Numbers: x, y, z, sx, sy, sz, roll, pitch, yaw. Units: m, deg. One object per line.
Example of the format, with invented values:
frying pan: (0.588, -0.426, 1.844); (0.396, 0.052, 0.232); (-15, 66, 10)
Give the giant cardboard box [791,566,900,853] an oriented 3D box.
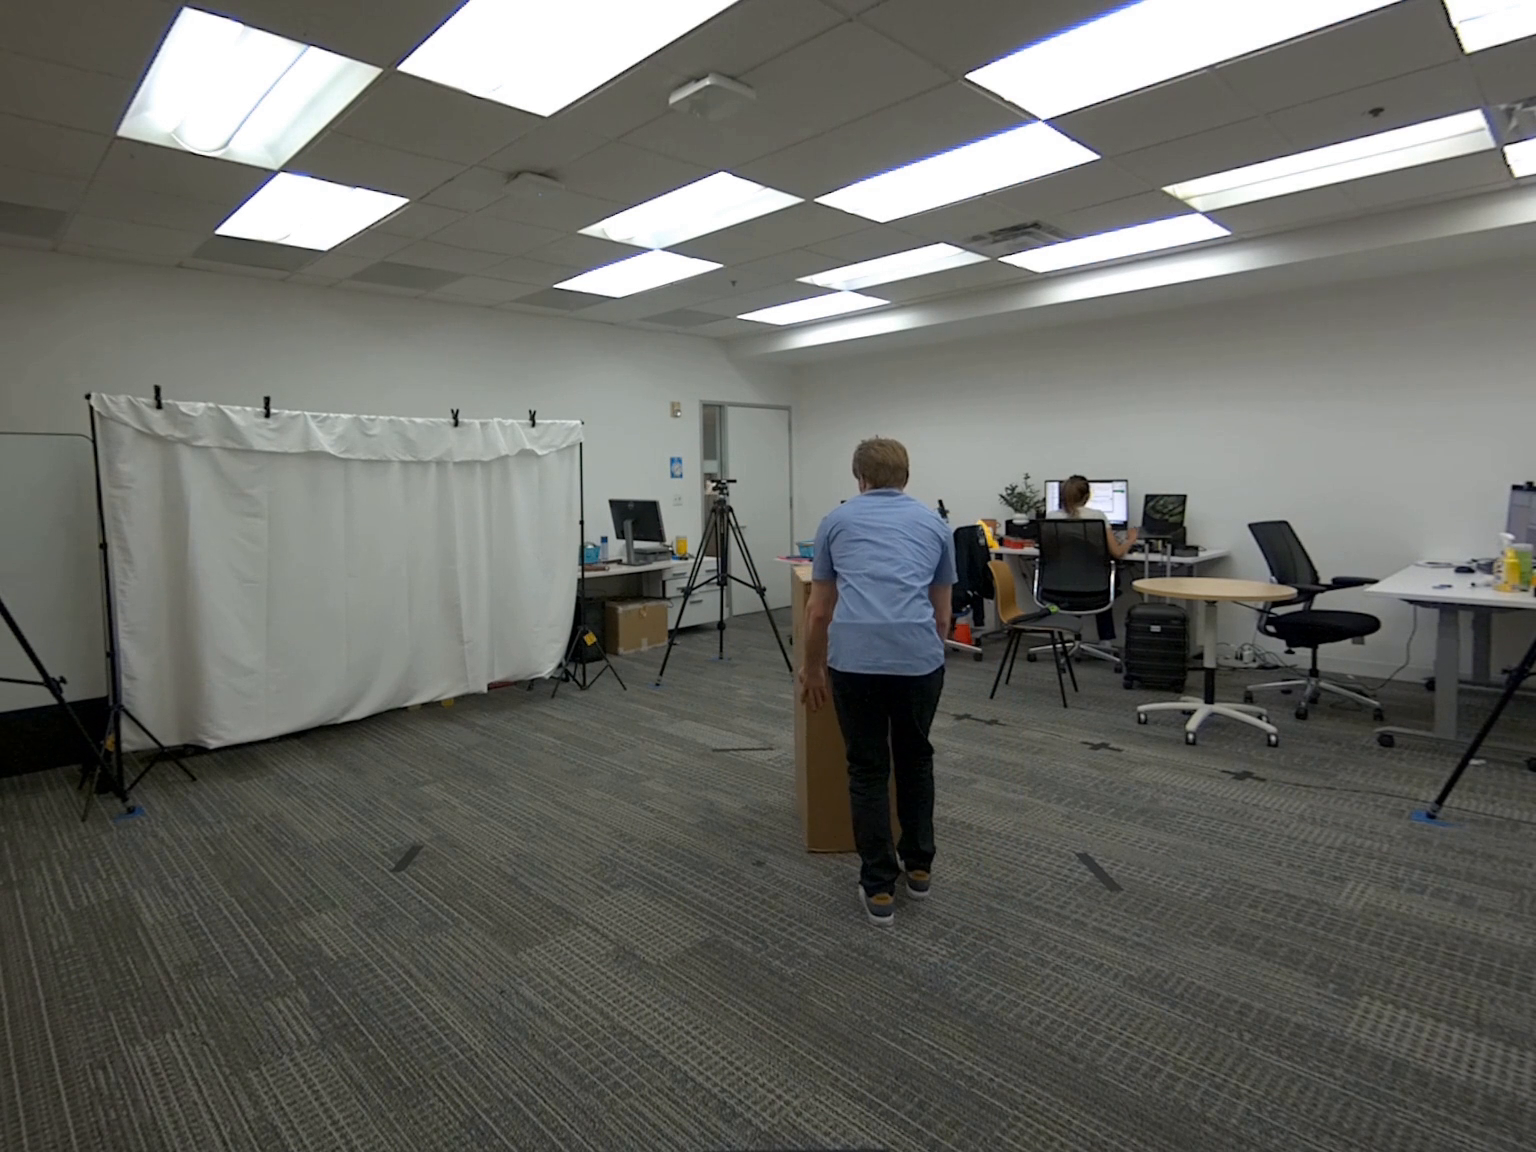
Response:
giant cardboard box: (0.341, 0.492, 3.449); (0.426, 1.023, 0.579); (-1, 4, -1)
